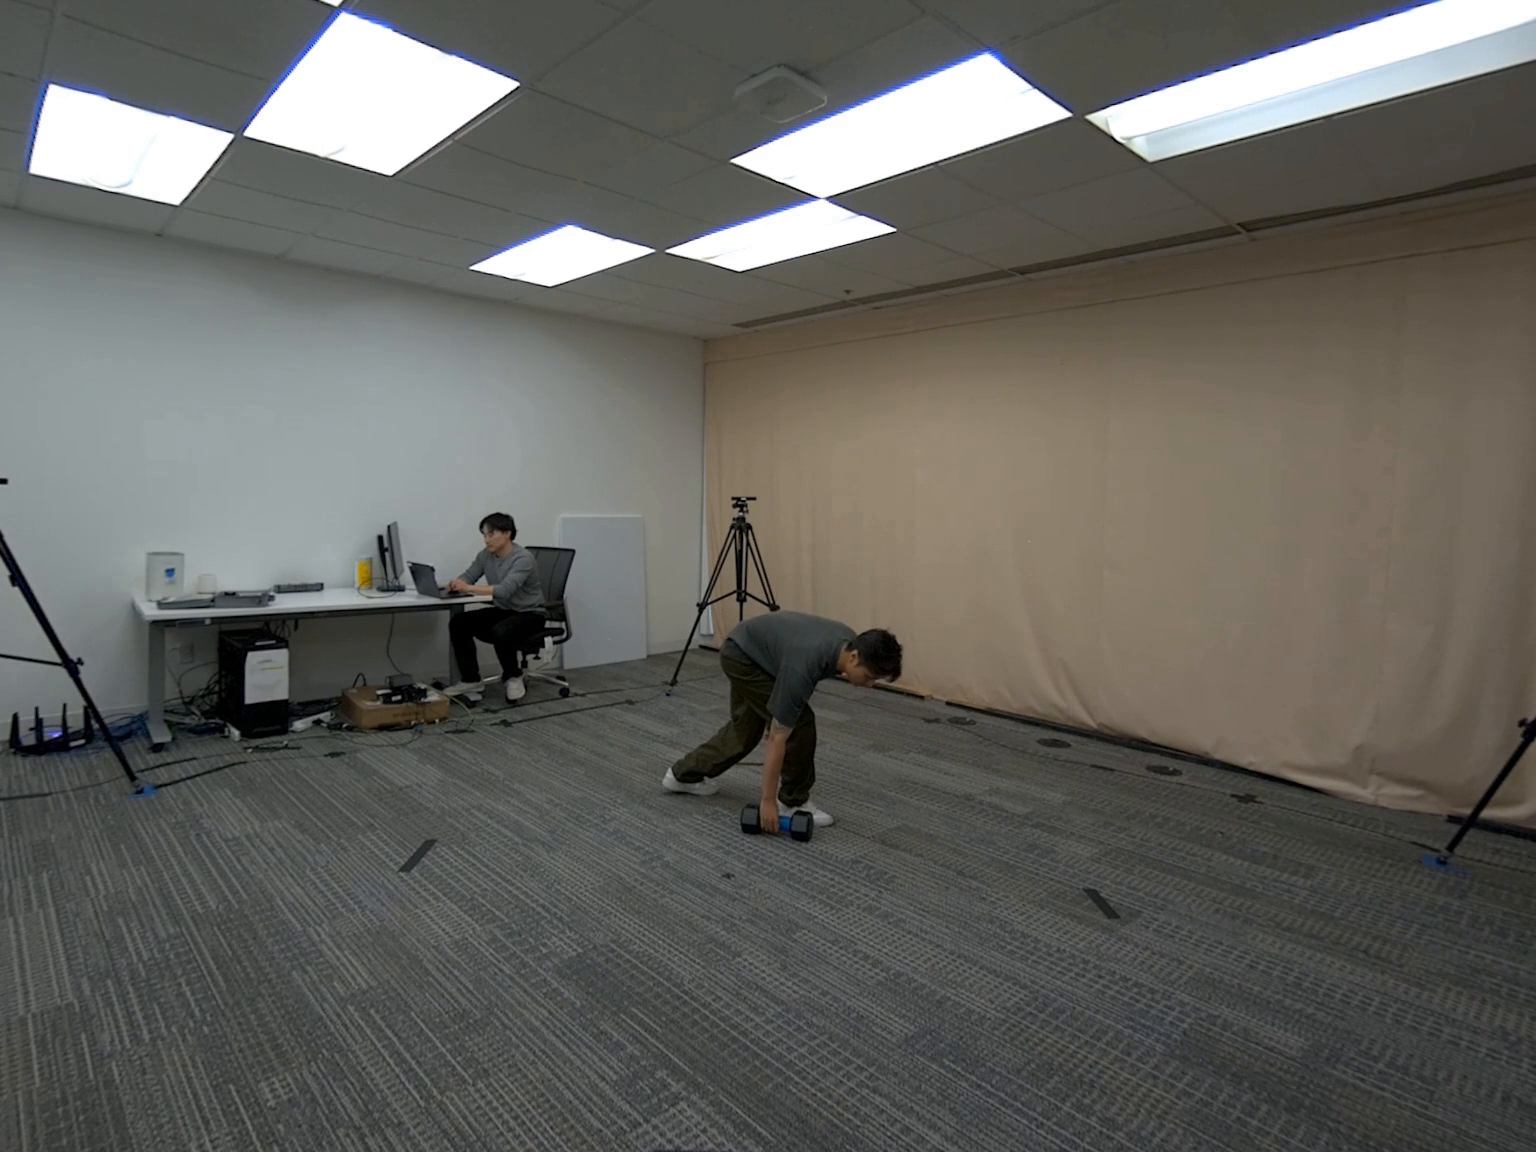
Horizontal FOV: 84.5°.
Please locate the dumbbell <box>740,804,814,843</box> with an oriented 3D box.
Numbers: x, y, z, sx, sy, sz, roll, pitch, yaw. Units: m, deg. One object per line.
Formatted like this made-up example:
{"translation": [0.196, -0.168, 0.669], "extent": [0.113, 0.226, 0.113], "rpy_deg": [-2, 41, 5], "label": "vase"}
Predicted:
{"translation": [0.020, 1.022, 3.499], "extent": [0.298, 0.108, 0.121], "rpy_deg": [3, 6, 18], "label": "dumbbell"}
